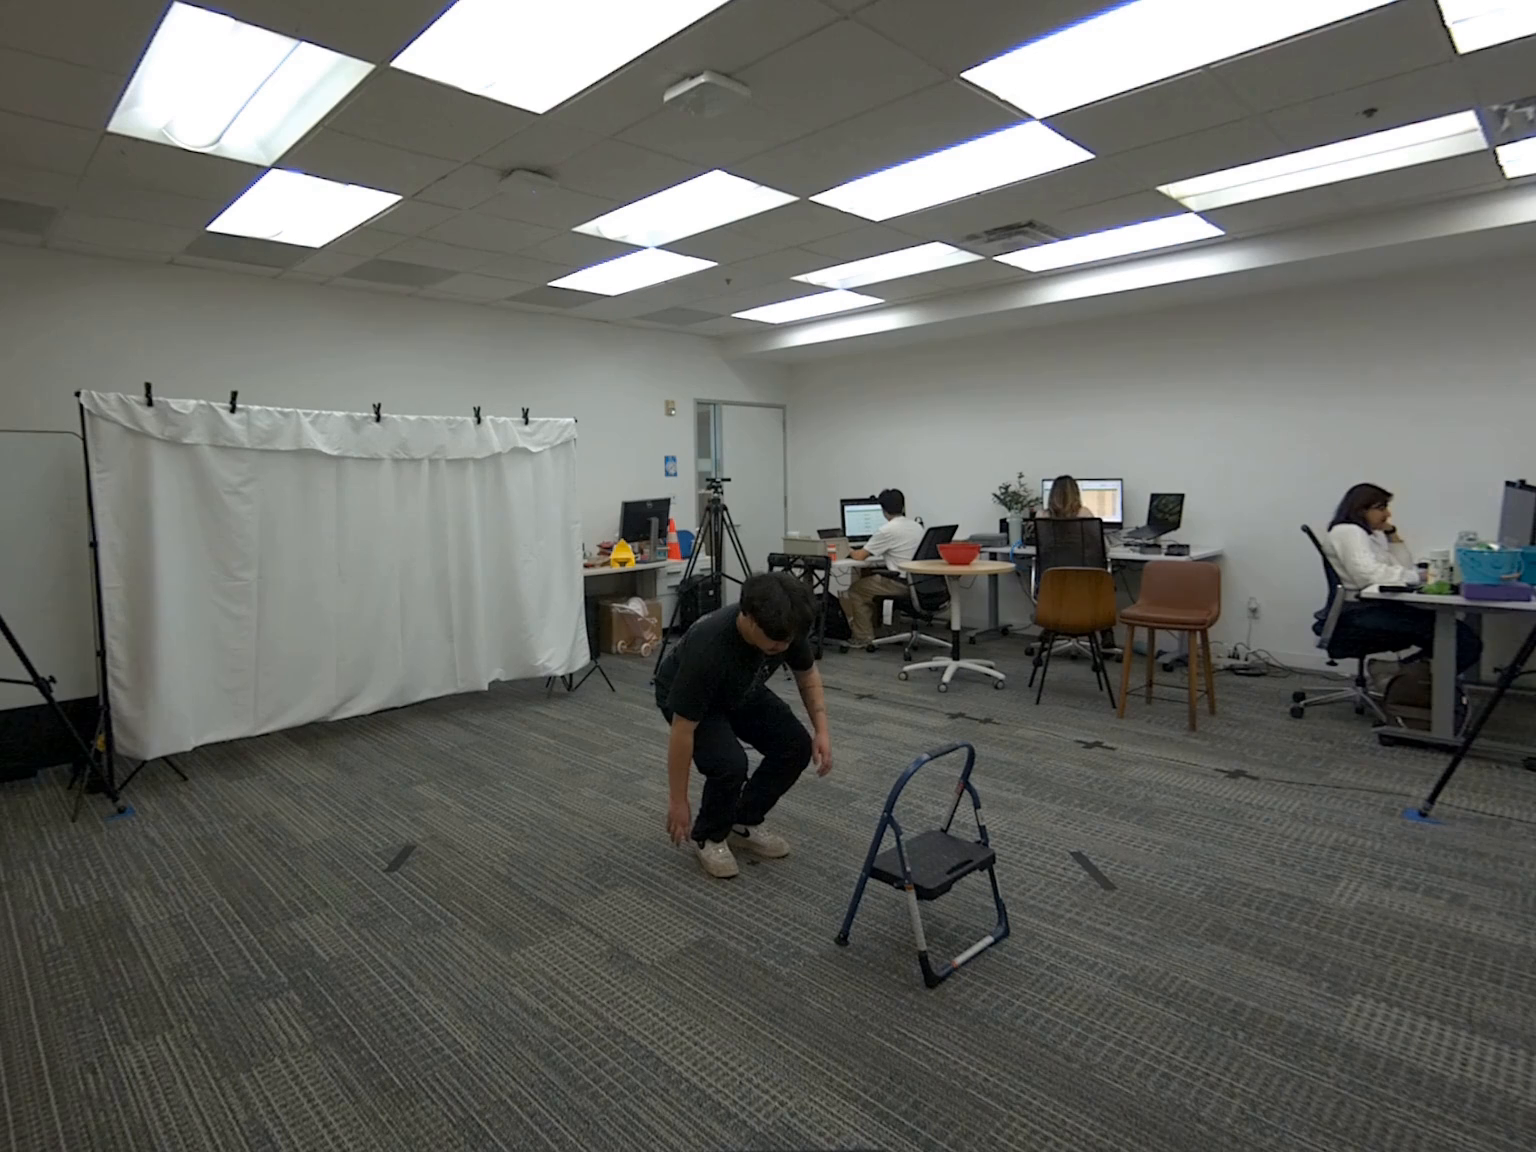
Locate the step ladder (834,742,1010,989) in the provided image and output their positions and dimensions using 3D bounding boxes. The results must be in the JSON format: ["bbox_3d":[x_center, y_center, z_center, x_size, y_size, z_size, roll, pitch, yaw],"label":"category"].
[{"bbox_3d":[0.469,0.794,2.562,0.419,0.604,0.360,-6,6,-44],"label":"step ladder"}]
